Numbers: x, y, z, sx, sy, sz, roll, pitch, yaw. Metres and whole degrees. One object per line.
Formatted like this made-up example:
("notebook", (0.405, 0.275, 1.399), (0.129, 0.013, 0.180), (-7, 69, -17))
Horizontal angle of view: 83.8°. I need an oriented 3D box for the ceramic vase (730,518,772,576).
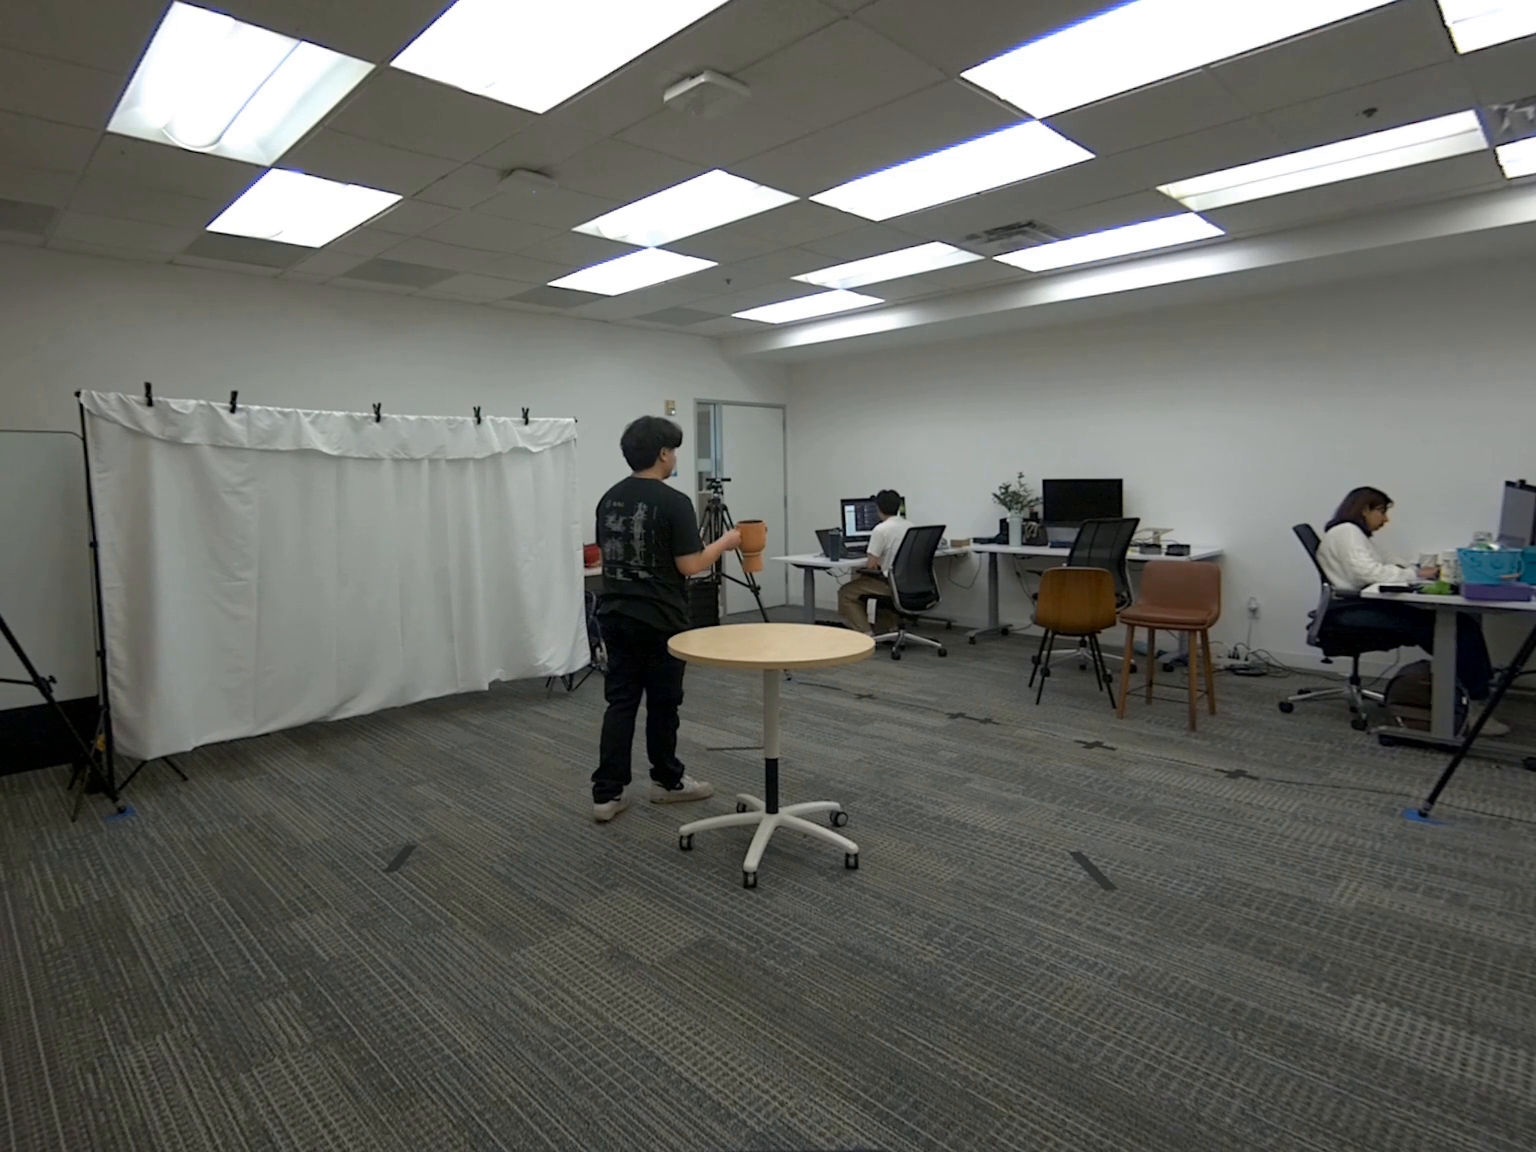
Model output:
("ceramic vase", (-0.080, -0.133, 3.827), (0.158, 0.217, 0.136), (-4, 11, -3))
